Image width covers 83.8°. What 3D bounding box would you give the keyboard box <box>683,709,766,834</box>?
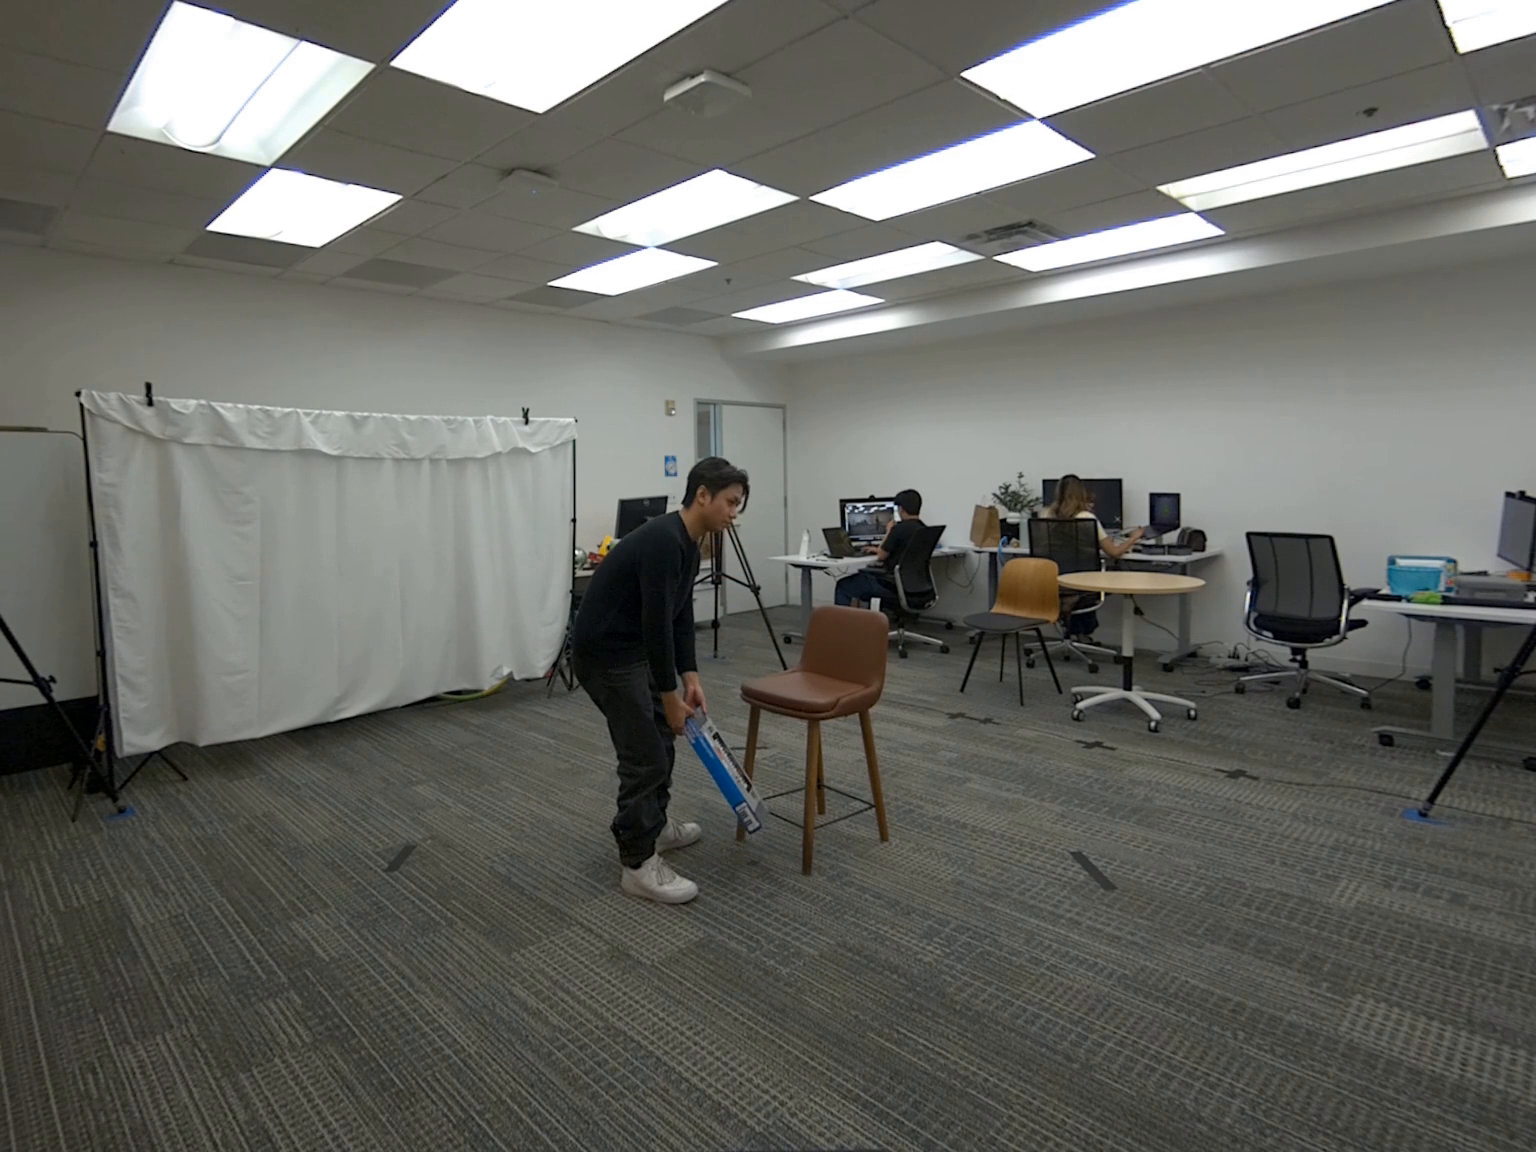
[{"bbox_3d":[-0.148,0.652,2.942,0.059,0.440,0.174,-34,-6,8],"label":"keyboard box"}]
